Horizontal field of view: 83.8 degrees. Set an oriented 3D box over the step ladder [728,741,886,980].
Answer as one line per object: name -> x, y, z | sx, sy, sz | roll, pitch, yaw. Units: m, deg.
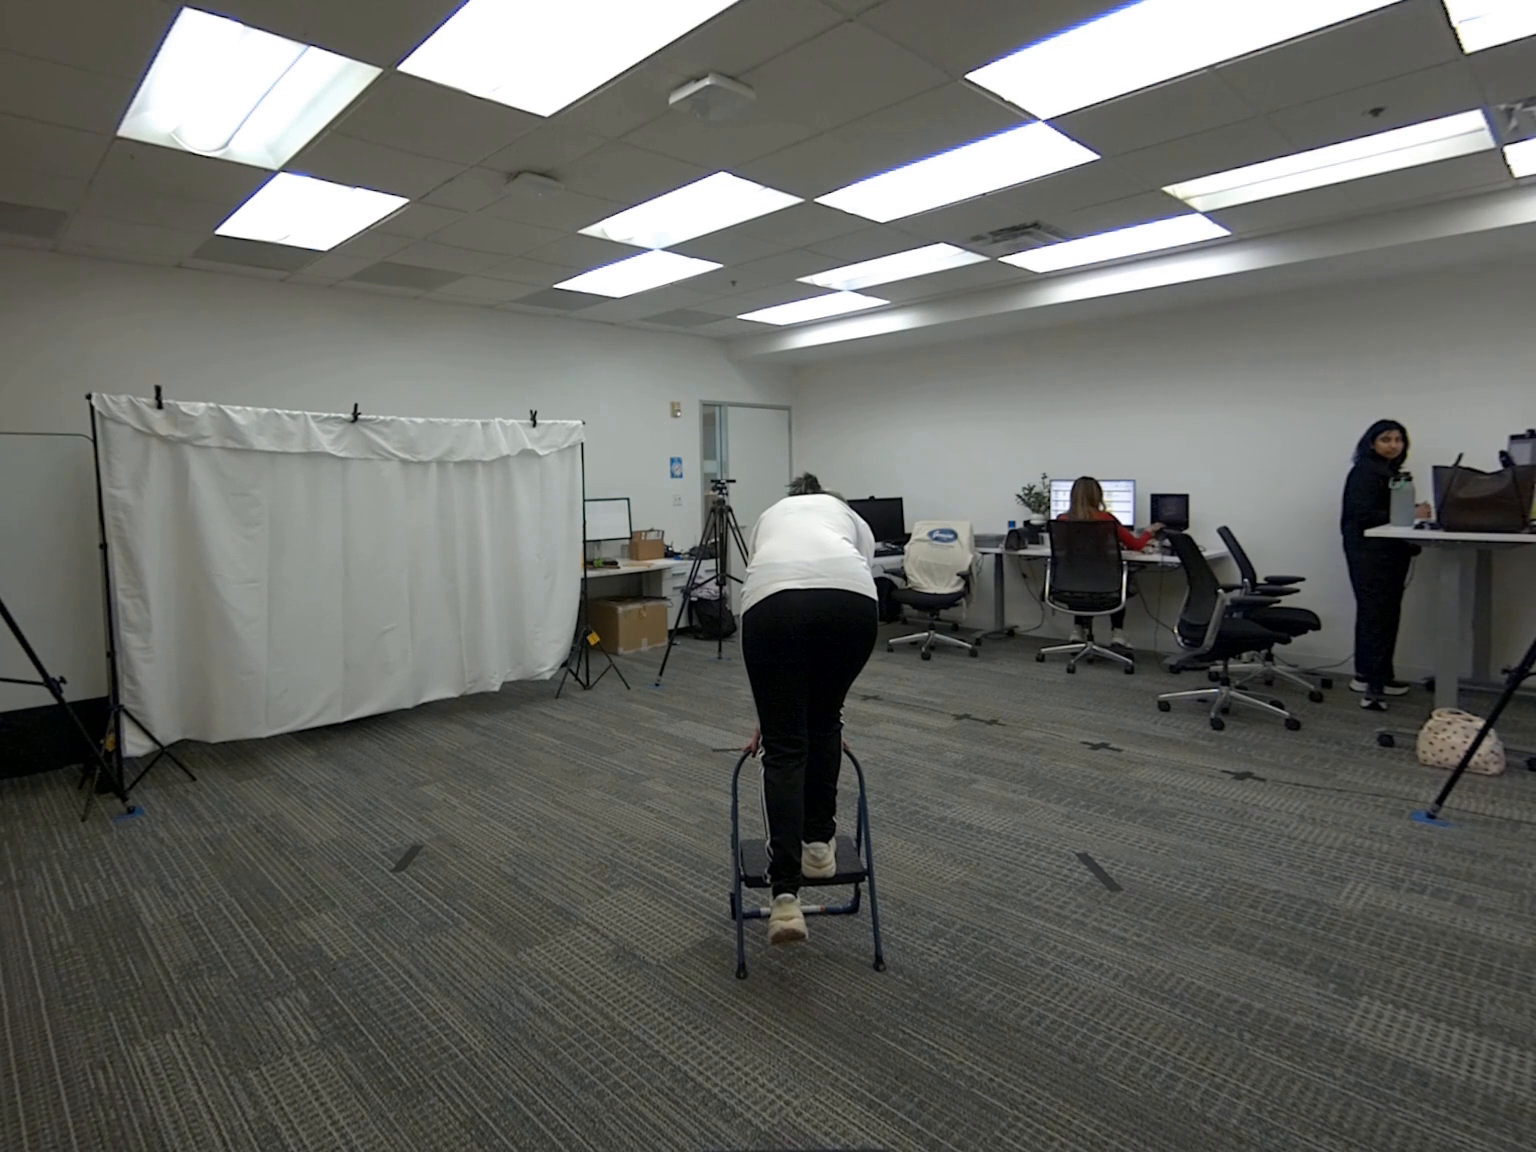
step ladder -> 0.102, 0.810, 2.564 | 0.429, 0.604, 0.352 | -2, 4, -5
